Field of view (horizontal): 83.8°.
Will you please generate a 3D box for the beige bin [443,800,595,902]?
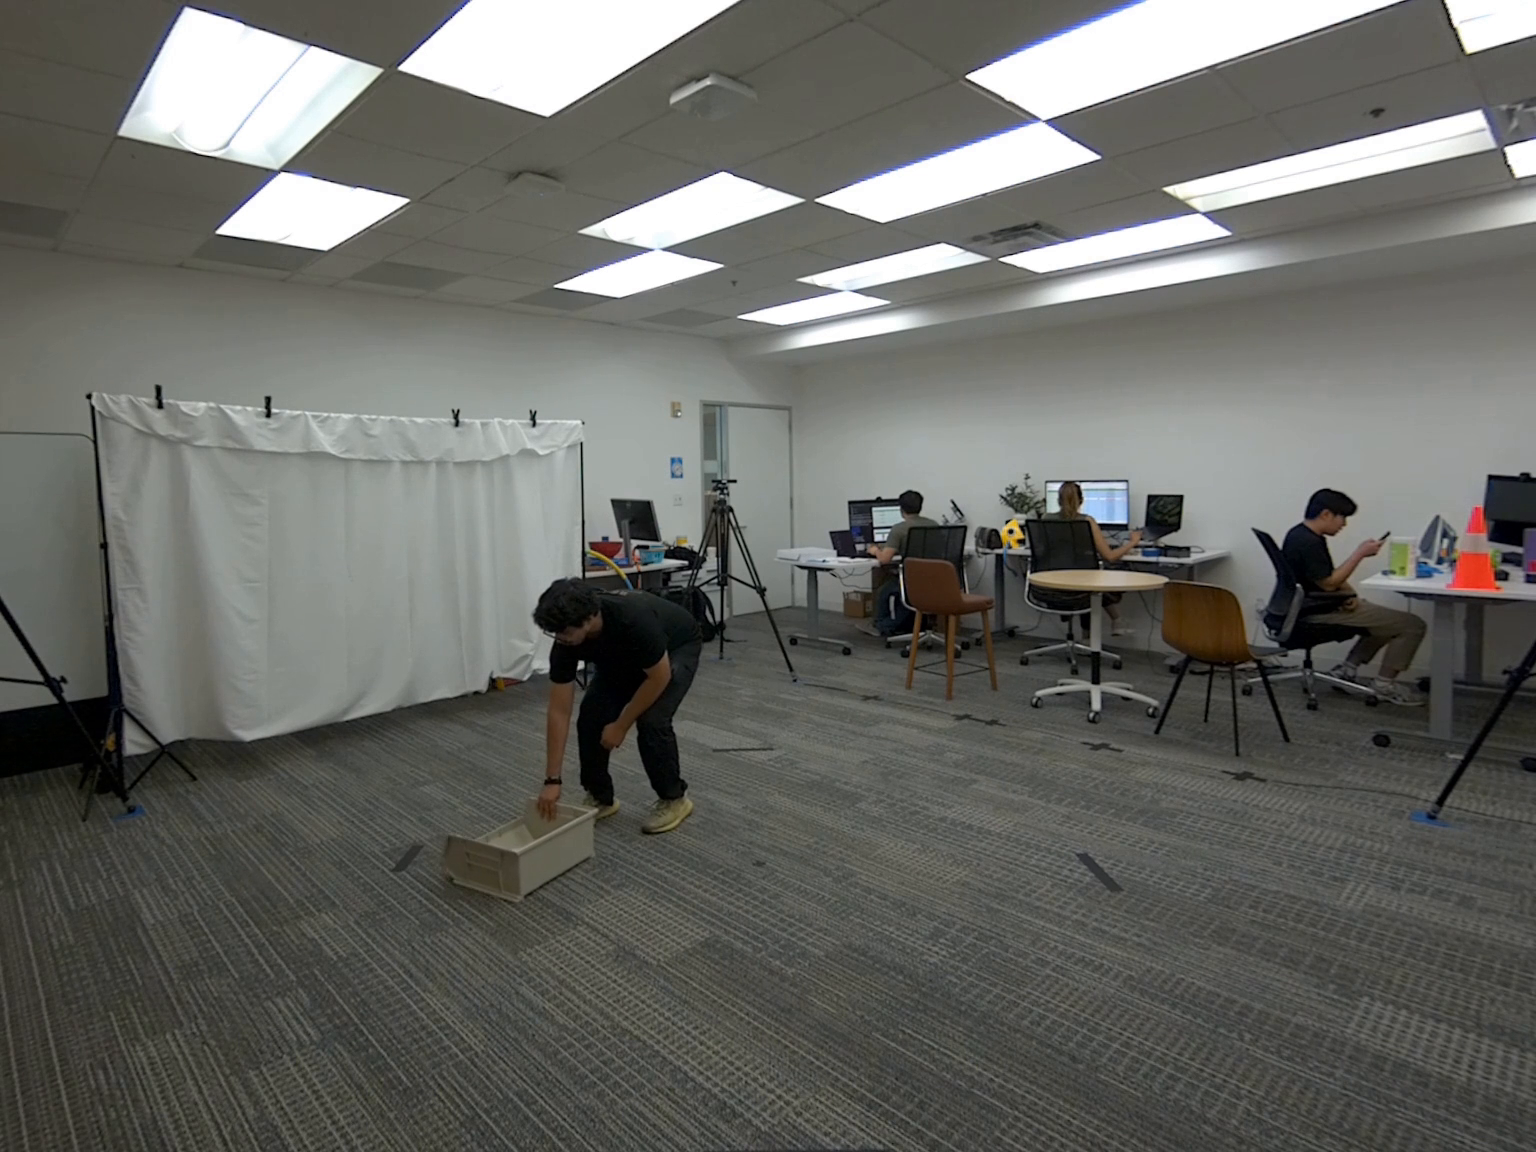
[{"bbox_3d":[-0.891,0.975,3.116,0.387,0.188,0.413,3,7,29],"label":"beige bin"}]
